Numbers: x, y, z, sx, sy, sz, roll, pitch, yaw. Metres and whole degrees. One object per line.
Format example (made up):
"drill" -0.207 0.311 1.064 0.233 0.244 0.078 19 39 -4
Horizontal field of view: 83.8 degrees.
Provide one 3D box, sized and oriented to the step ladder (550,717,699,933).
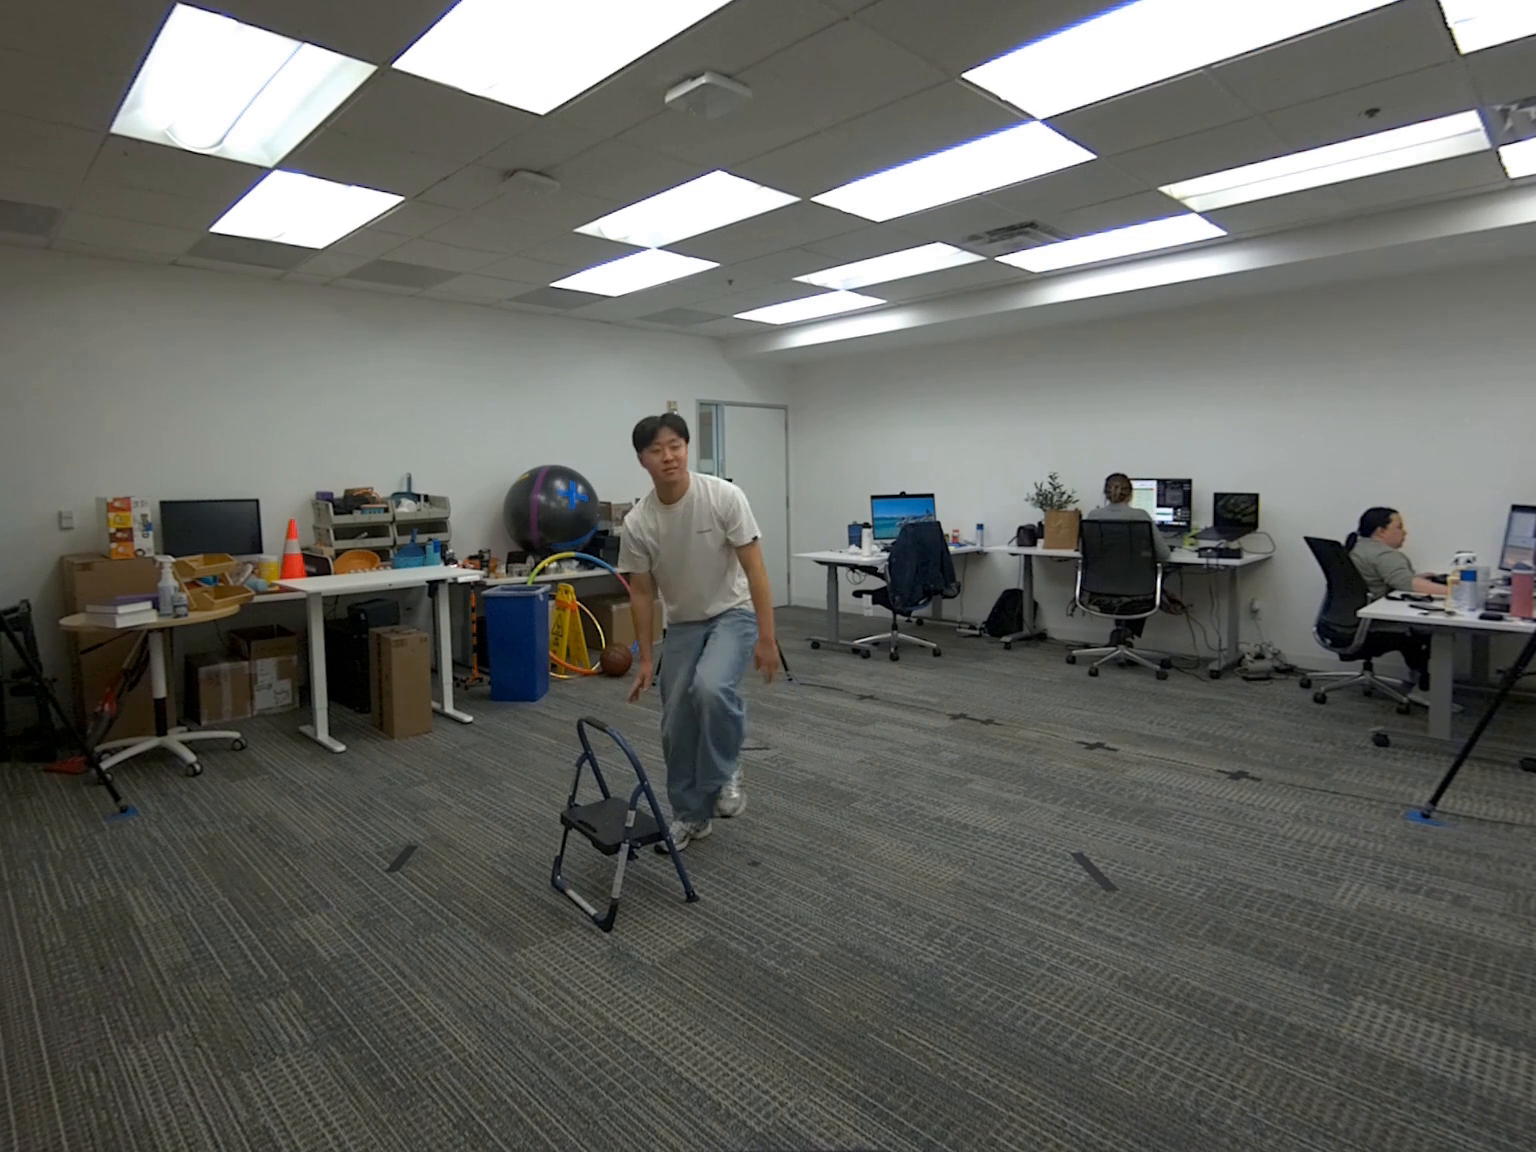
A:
"step ladder" -0.502 0.774 2.891 0.340 0.604 0.444 -5 6 -38
